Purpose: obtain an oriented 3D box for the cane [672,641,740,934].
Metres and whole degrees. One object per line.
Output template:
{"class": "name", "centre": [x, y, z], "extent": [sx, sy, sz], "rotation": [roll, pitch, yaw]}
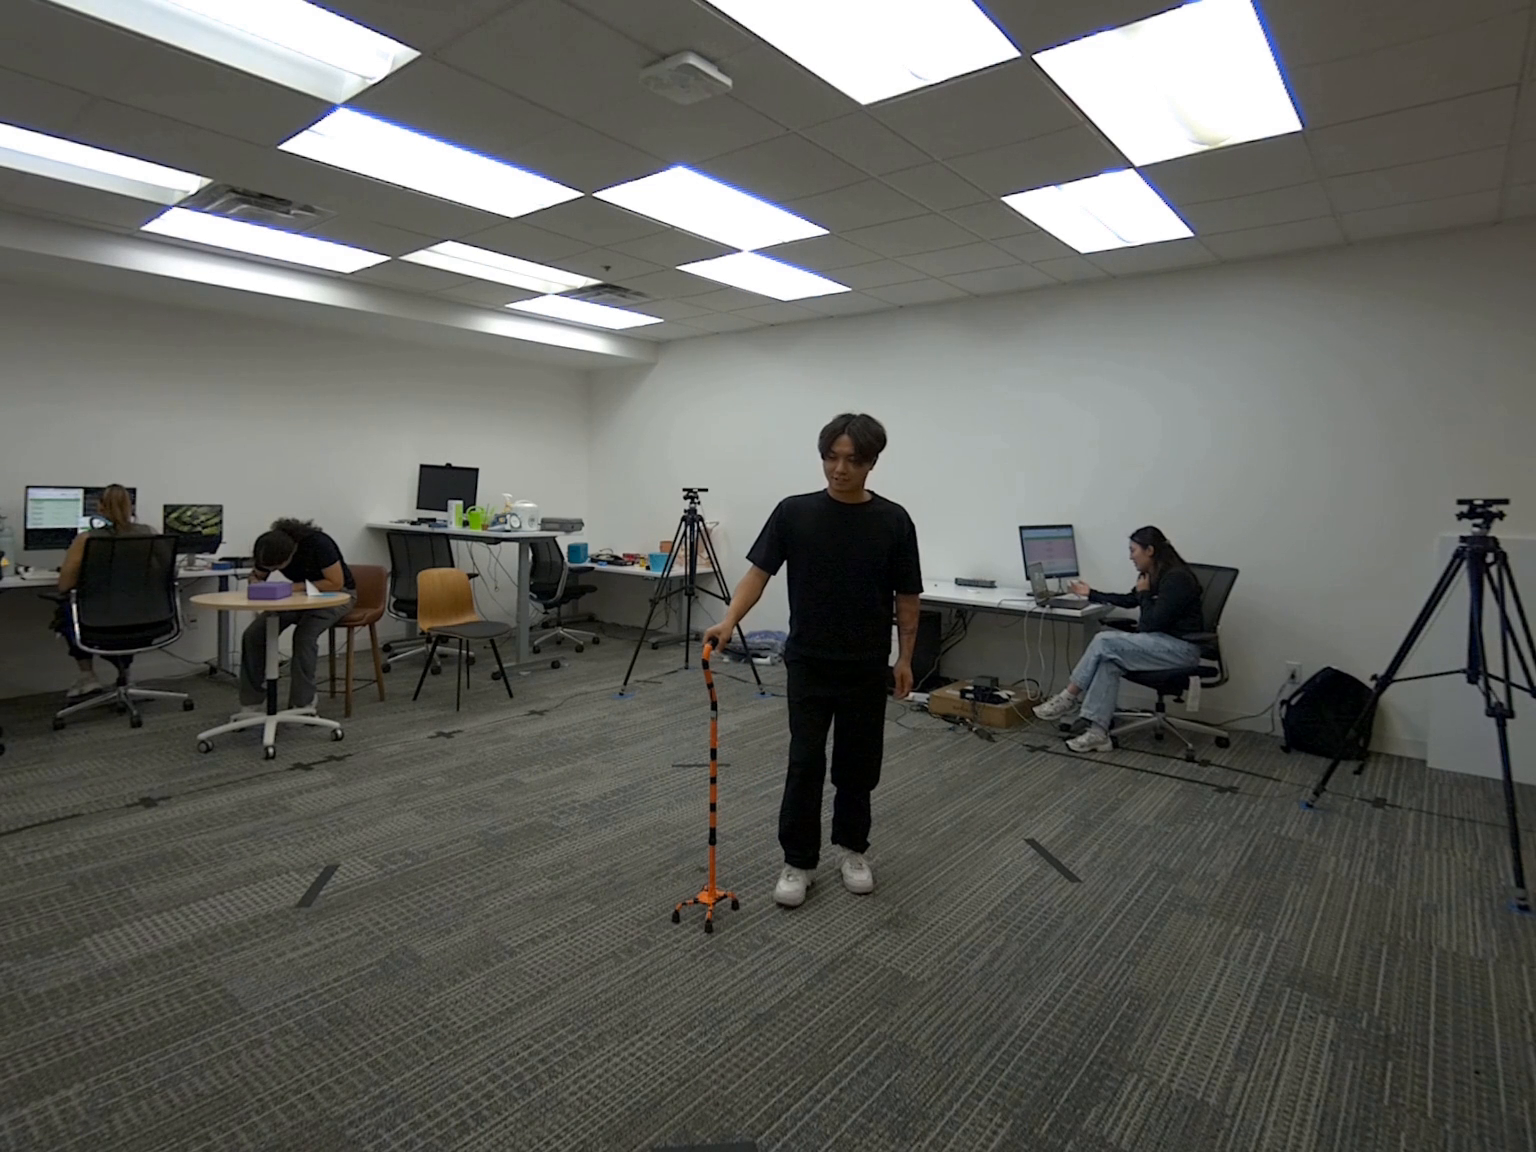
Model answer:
{"class": "cane", "centre": [-0.204, 0.652, 2.756], "extent": [0.155, 0.906, 0.202], "rotation": [1, 3, 24]}
